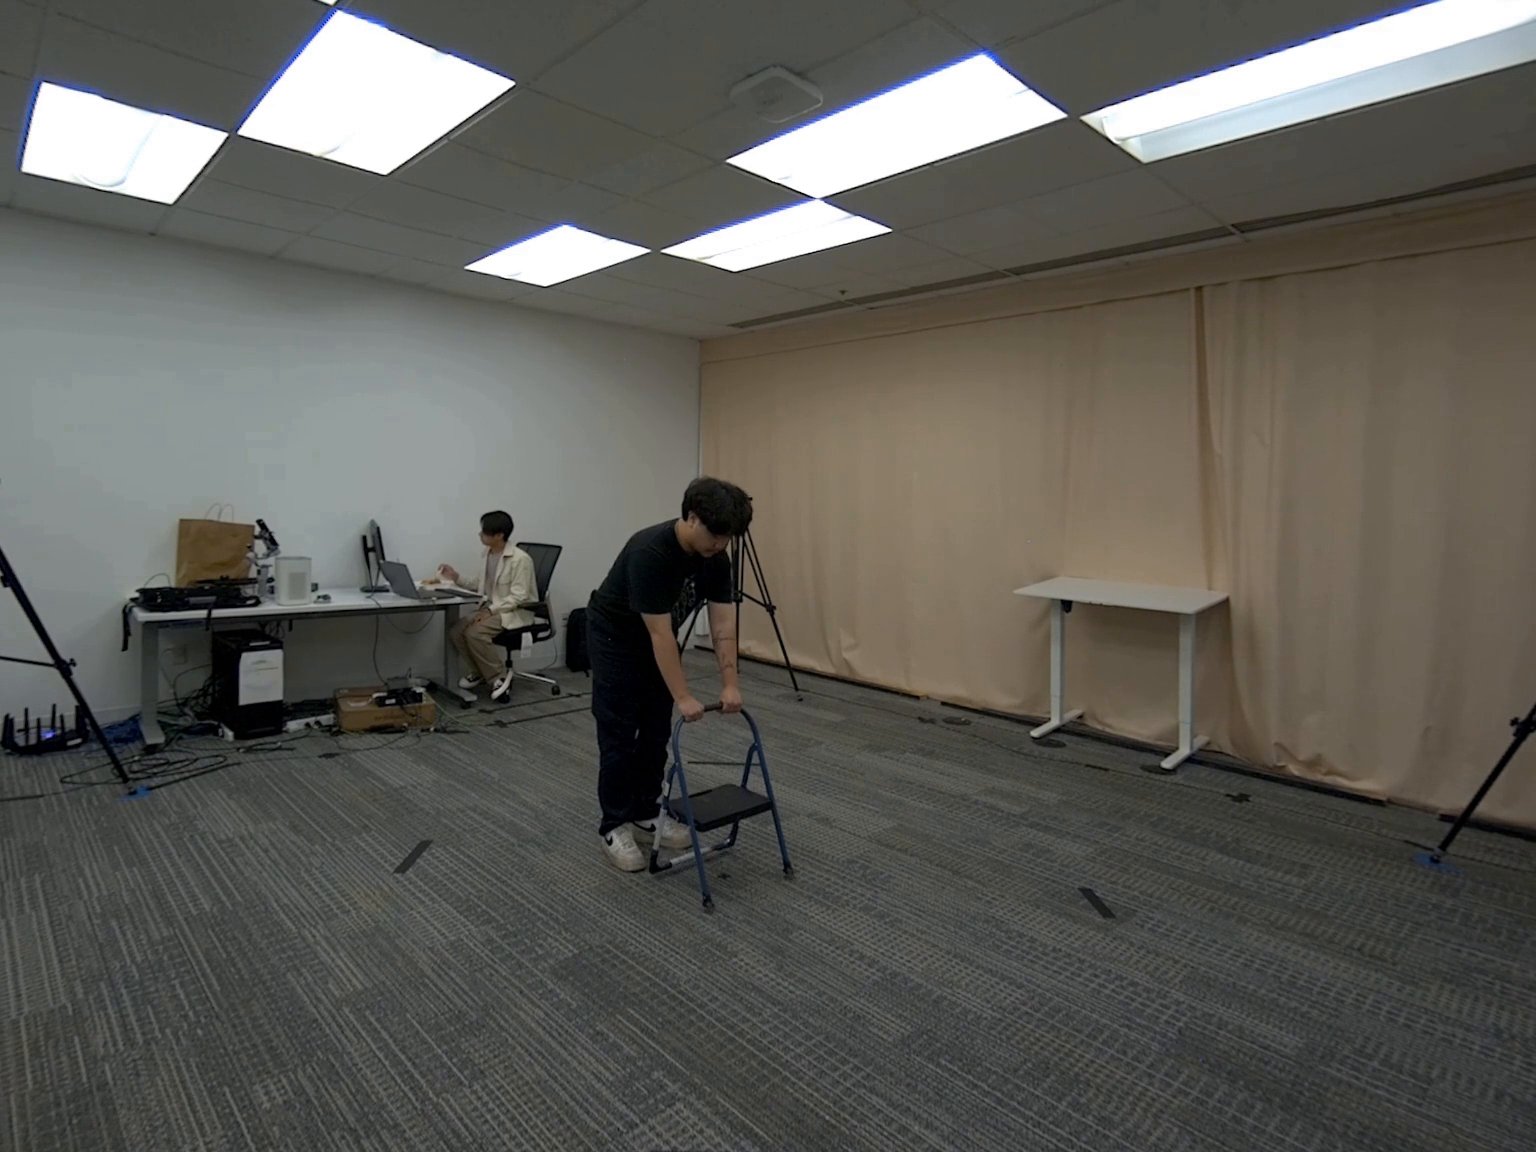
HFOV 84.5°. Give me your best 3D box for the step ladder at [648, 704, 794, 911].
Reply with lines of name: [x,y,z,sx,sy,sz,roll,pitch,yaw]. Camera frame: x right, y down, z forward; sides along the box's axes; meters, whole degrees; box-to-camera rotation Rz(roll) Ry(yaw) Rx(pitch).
step ladder: [-0.171,0.783,3.066,0.420,0.605,0.358,-2,5,-45]
